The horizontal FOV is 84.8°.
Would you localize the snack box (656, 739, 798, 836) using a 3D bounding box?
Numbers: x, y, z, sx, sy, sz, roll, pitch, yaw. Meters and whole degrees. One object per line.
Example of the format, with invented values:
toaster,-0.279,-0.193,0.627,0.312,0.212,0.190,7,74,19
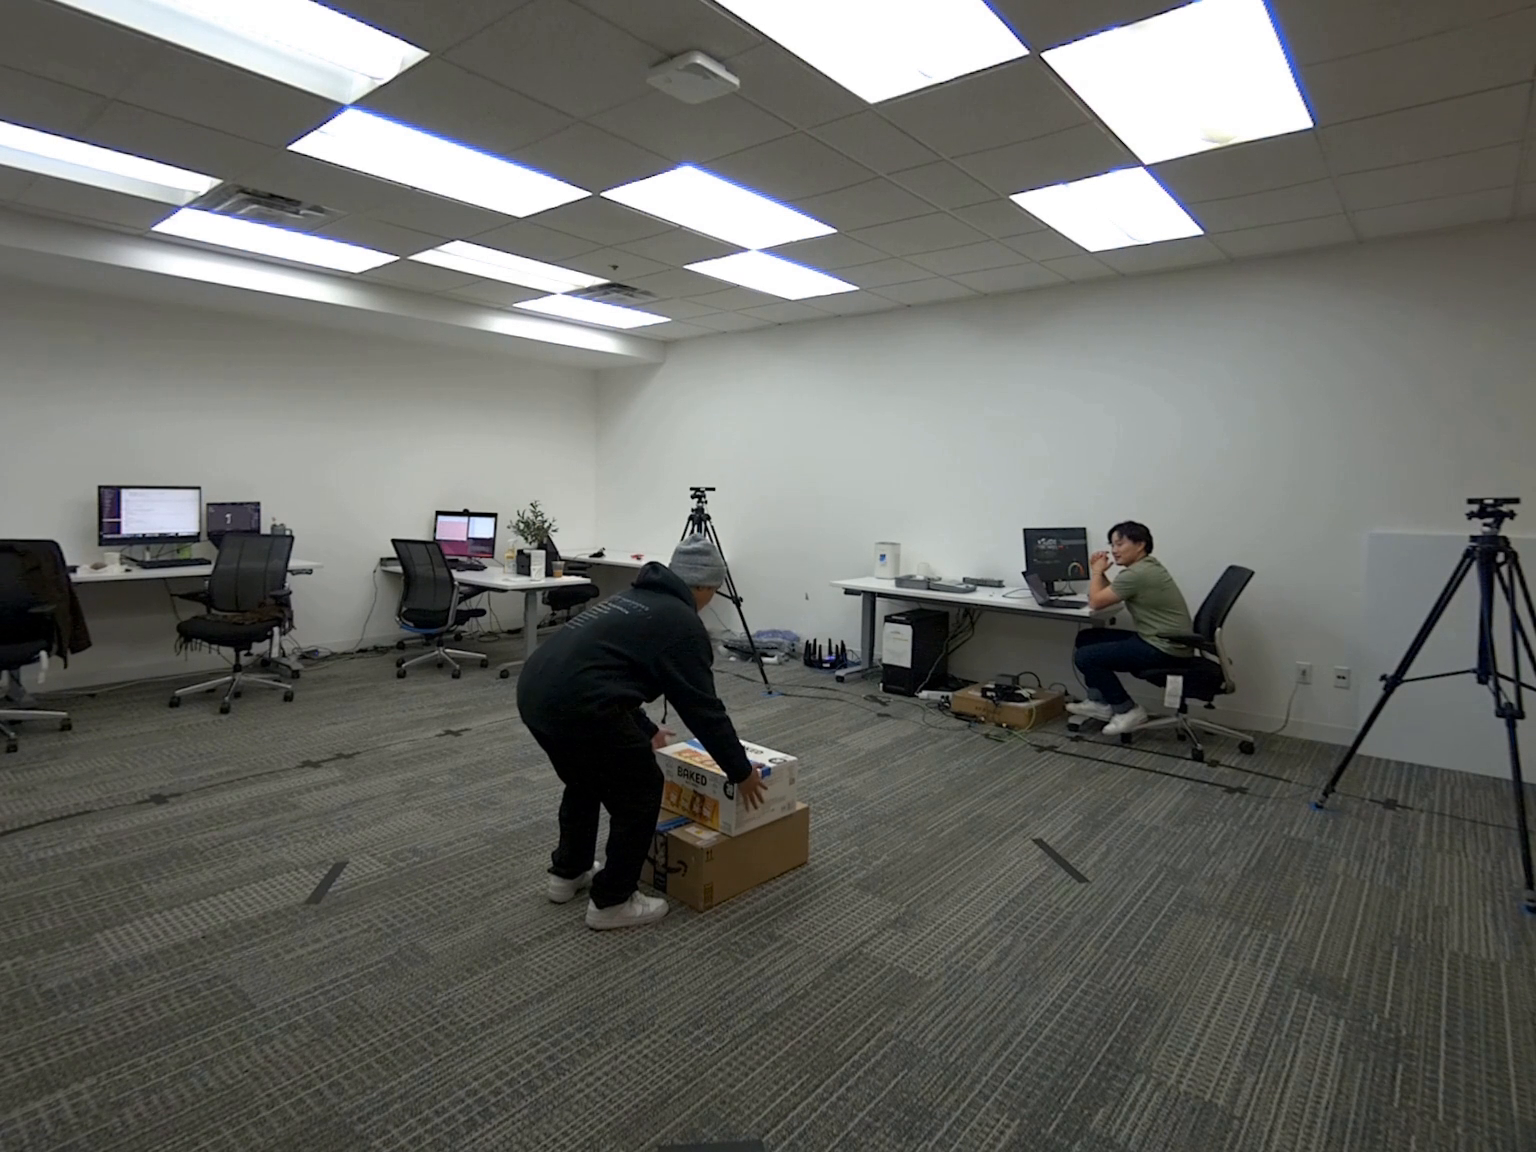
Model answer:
snack box,-0.165,0.747,3.108,0.419,0.205,0.330,7,8,42
